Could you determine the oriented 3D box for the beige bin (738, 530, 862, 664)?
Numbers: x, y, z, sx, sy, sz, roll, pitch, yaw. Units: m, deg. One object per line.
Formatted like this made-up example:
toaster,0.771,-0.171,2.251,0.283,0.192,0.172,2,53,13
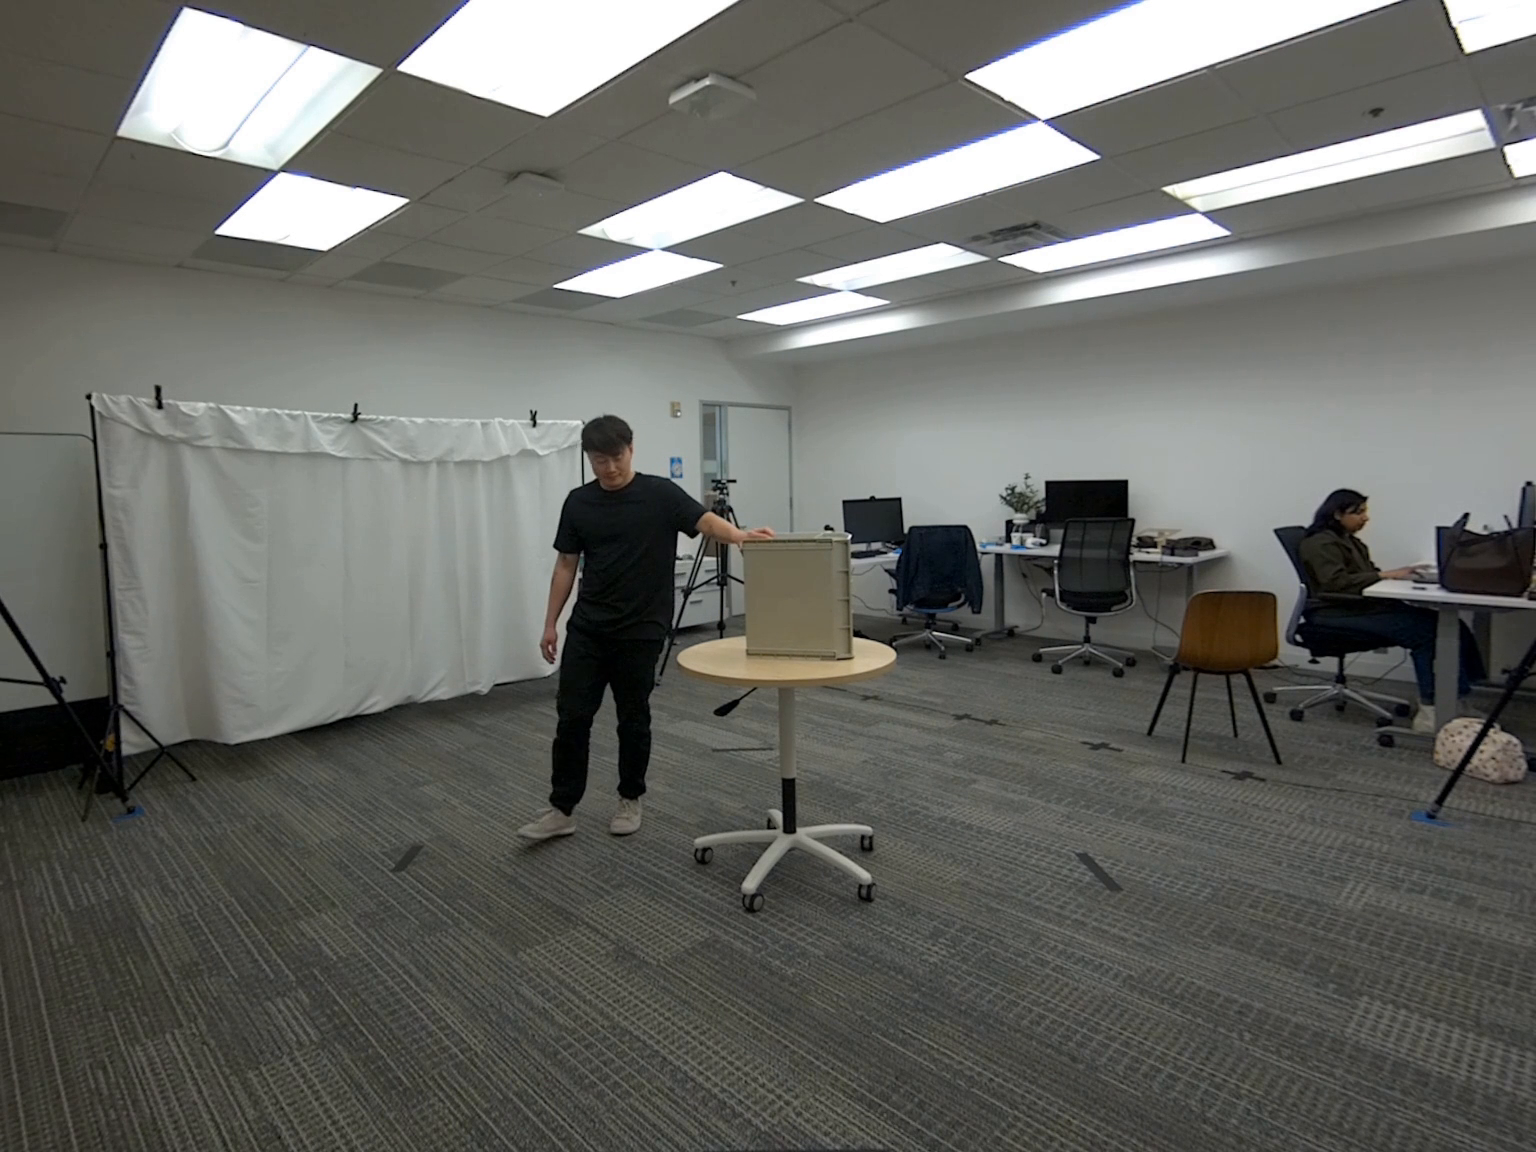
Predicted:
beige bin,0.112,0.066,2.967,0.383,0.420,0.187,-1,6,16
